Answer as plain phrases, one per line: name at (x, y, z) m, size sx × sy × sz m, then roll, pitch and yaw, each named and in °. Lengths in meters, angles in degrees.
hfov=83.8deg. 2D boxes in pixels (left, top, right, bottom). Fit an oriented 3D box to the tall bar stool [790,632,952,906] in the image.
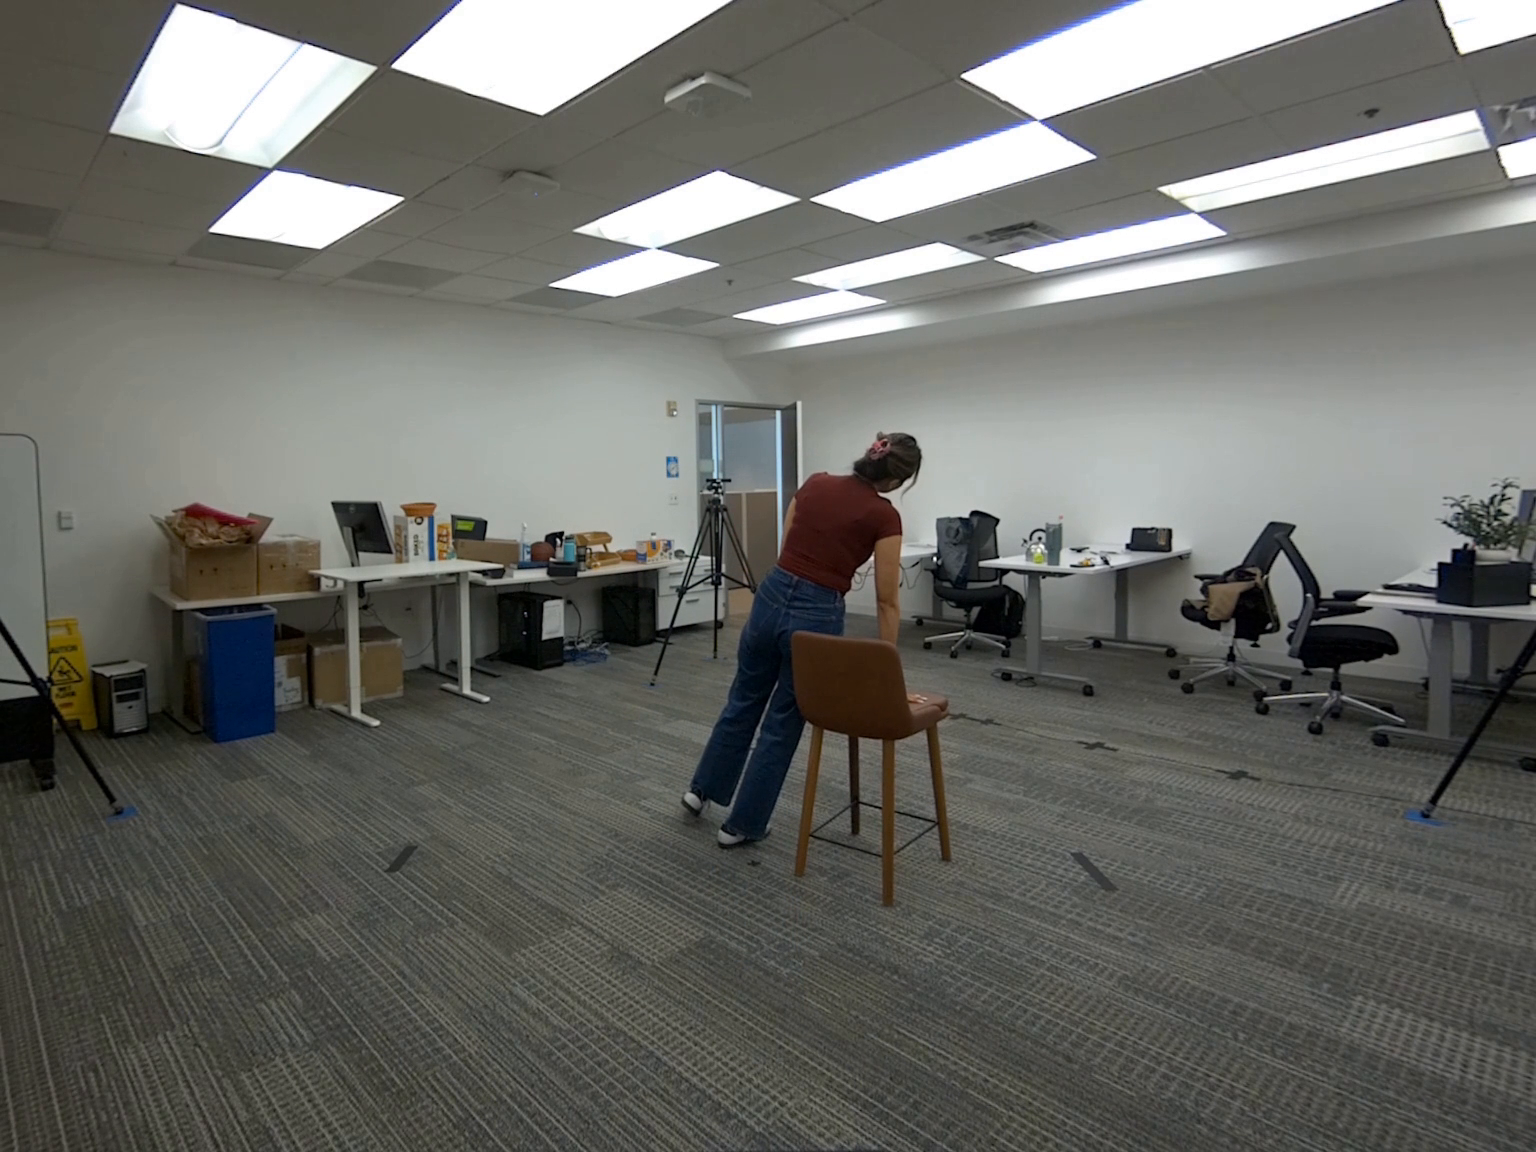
tall bar stool at (0.376, 0.617, 3.025) m, size 0.470 × 0.885 × 0.456 m, roll 3°, pitch 7°, yaw 37°
